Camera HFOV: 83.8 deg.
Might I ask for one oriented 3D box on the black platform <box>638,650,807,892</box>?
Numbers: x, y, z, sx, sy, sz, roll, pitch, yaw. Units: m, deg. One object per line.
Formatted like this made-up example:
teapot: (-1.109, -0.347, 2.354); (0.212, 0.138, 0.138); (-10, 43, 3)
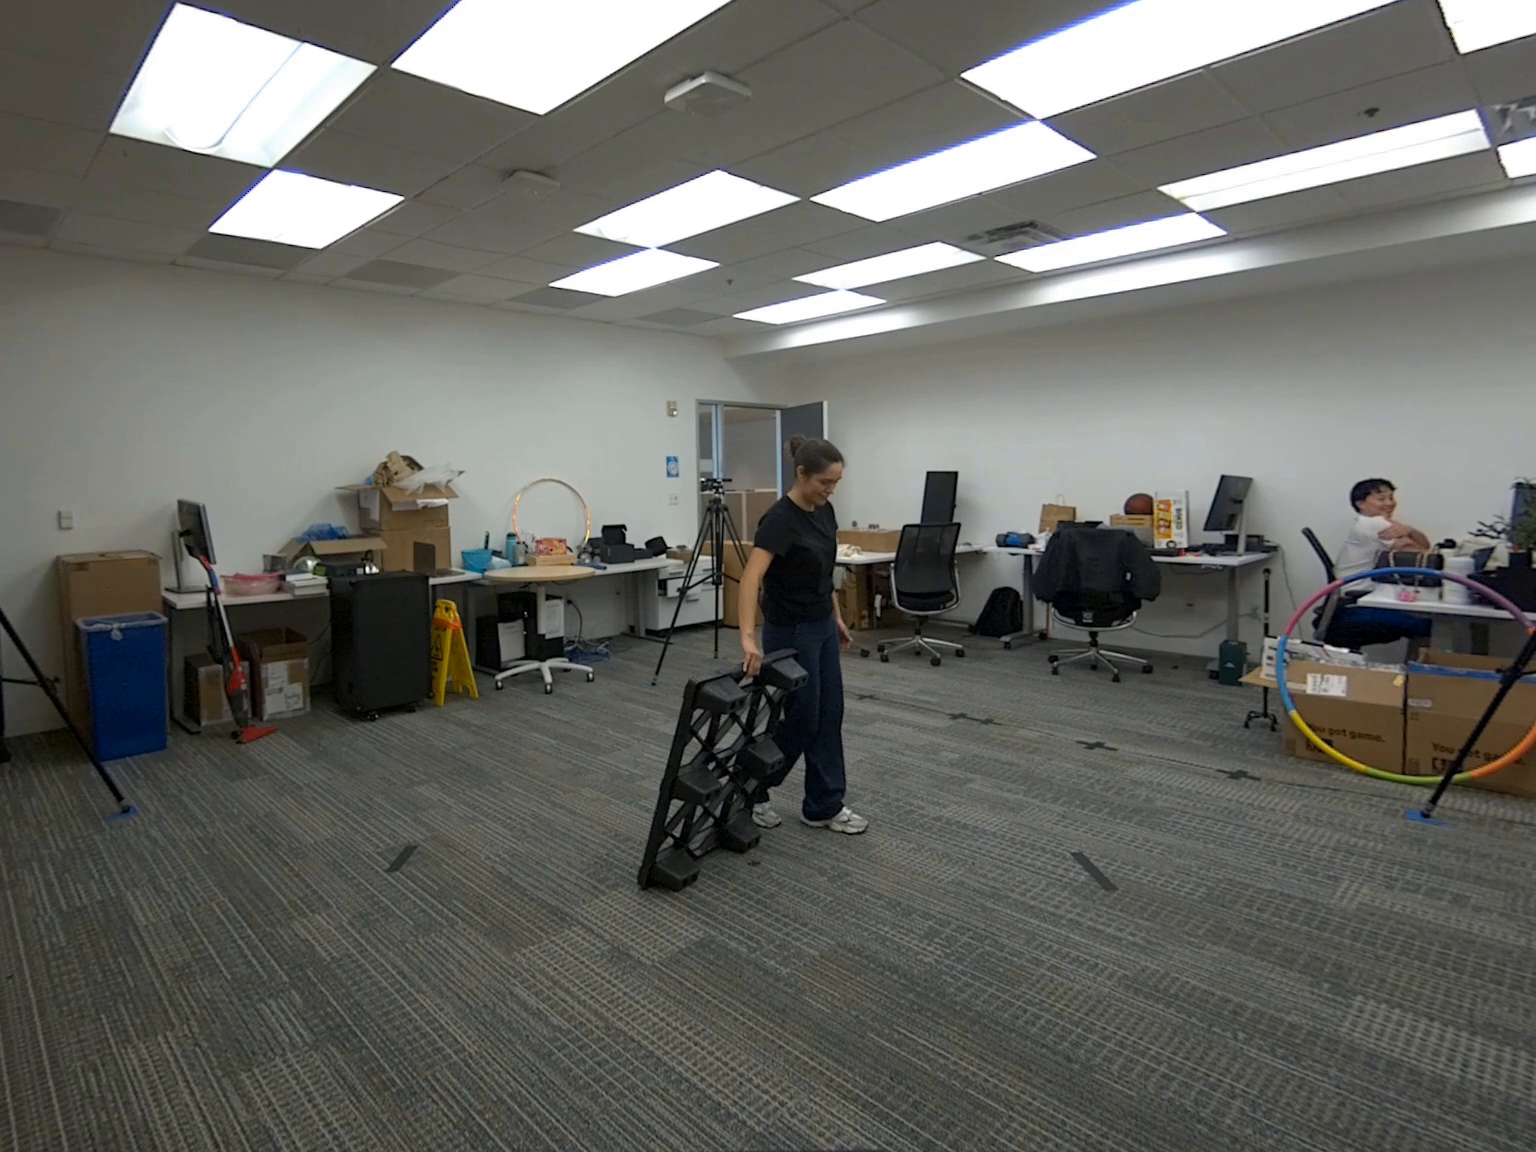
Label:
black platform: (-0.135, 0.684, 3.034); (0.148, 0.798, 0.590); (24, 18, 32)
